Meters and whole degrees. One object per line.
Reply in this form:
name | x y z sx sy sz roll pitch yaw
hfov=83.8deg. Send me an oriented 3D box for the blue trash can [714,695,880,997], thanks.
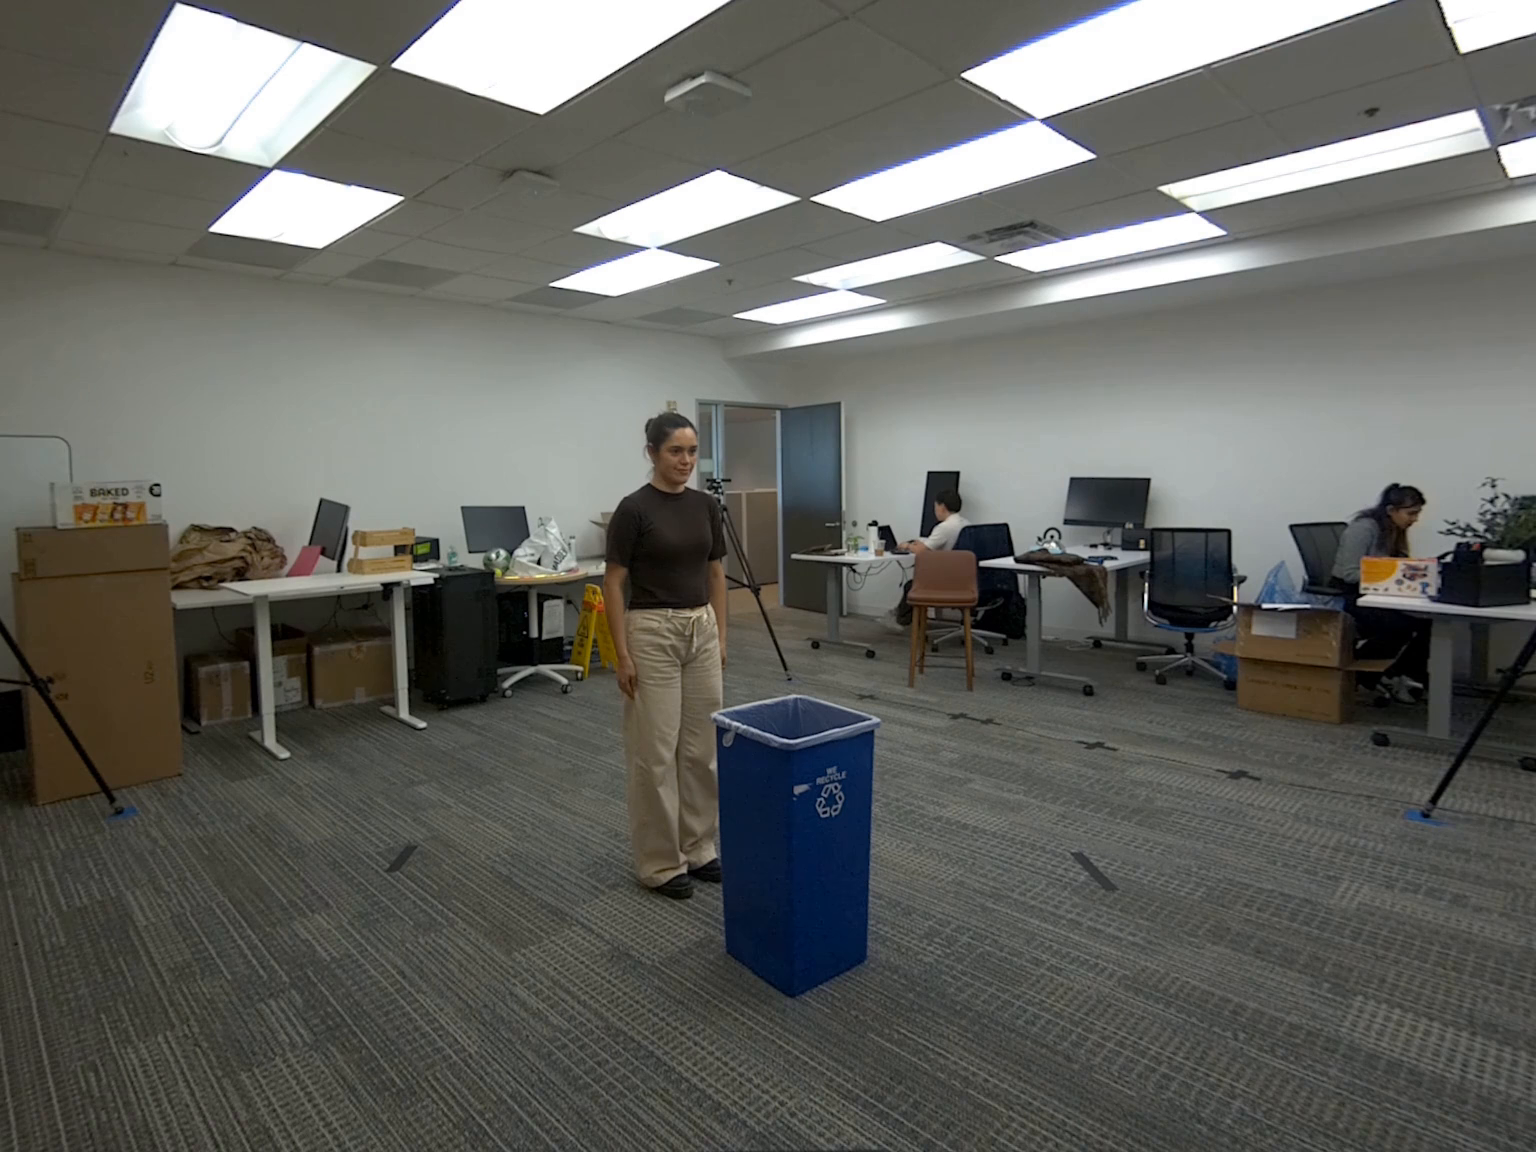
blue trash can | 0.090 0.758 2.473 0.368 0.711 0.385 -3 5 -39
